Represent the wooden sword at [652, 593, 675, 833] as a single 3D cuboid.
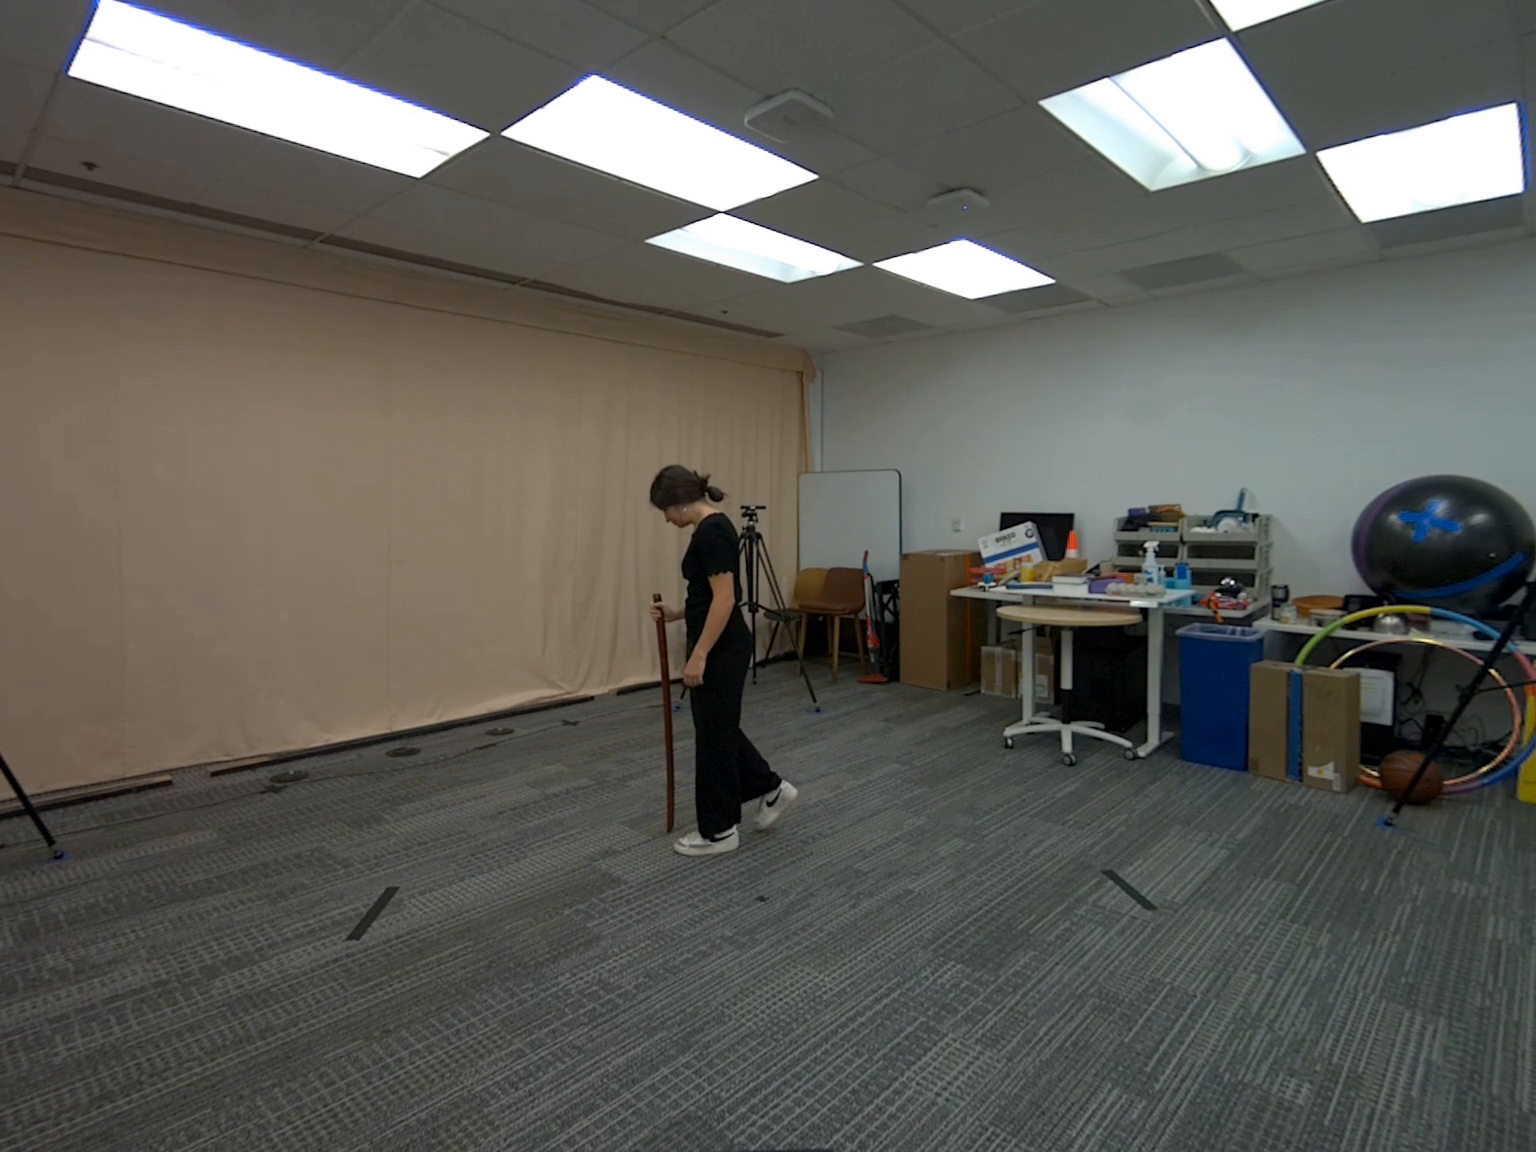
[{"bbox_3d":[-0.431,0.598,3.571,0.053,1.022,0.023,1,5,44],"label":"wooden sword"}]
